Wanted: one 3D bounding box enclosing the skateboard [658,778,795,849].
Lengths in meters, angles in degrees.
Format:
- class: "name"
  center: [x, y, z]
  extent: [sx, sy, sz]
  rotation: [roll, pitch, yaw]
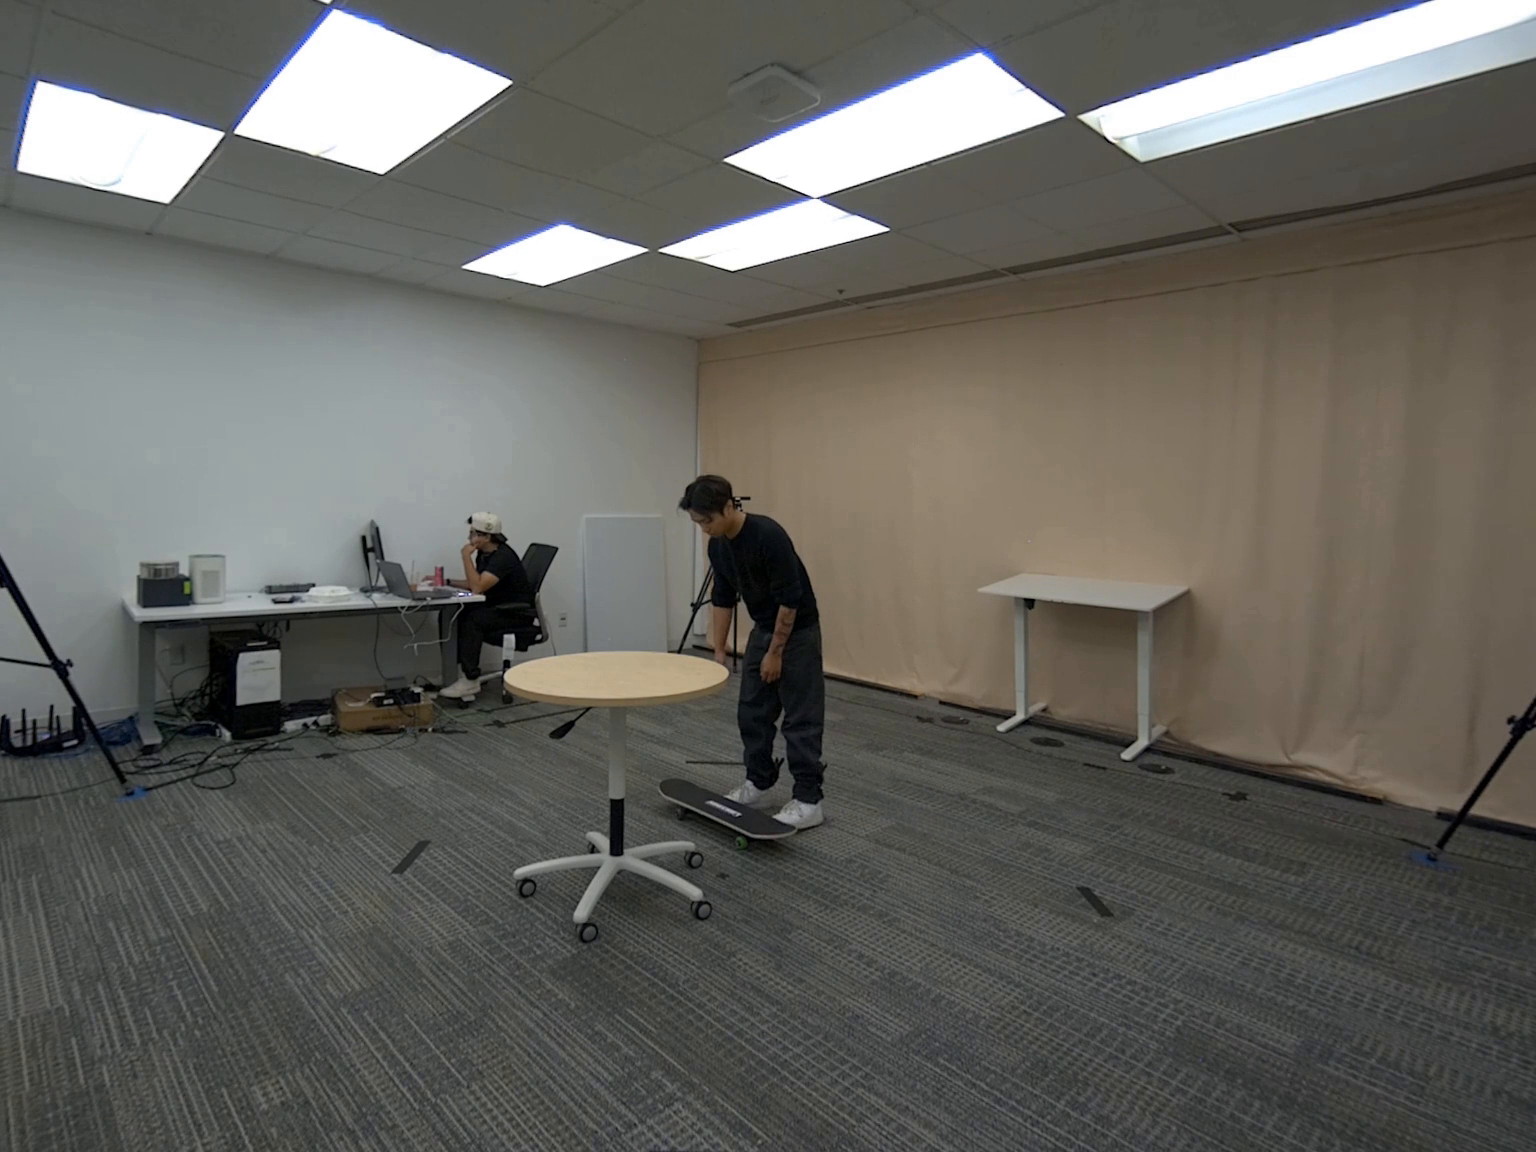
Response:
- class: "skateboard"
  center: [-0.199, 1.013, 3.550]
  extent: [0.189, 0.110, 0.806]
  rotation: [-2, 6, -42]
